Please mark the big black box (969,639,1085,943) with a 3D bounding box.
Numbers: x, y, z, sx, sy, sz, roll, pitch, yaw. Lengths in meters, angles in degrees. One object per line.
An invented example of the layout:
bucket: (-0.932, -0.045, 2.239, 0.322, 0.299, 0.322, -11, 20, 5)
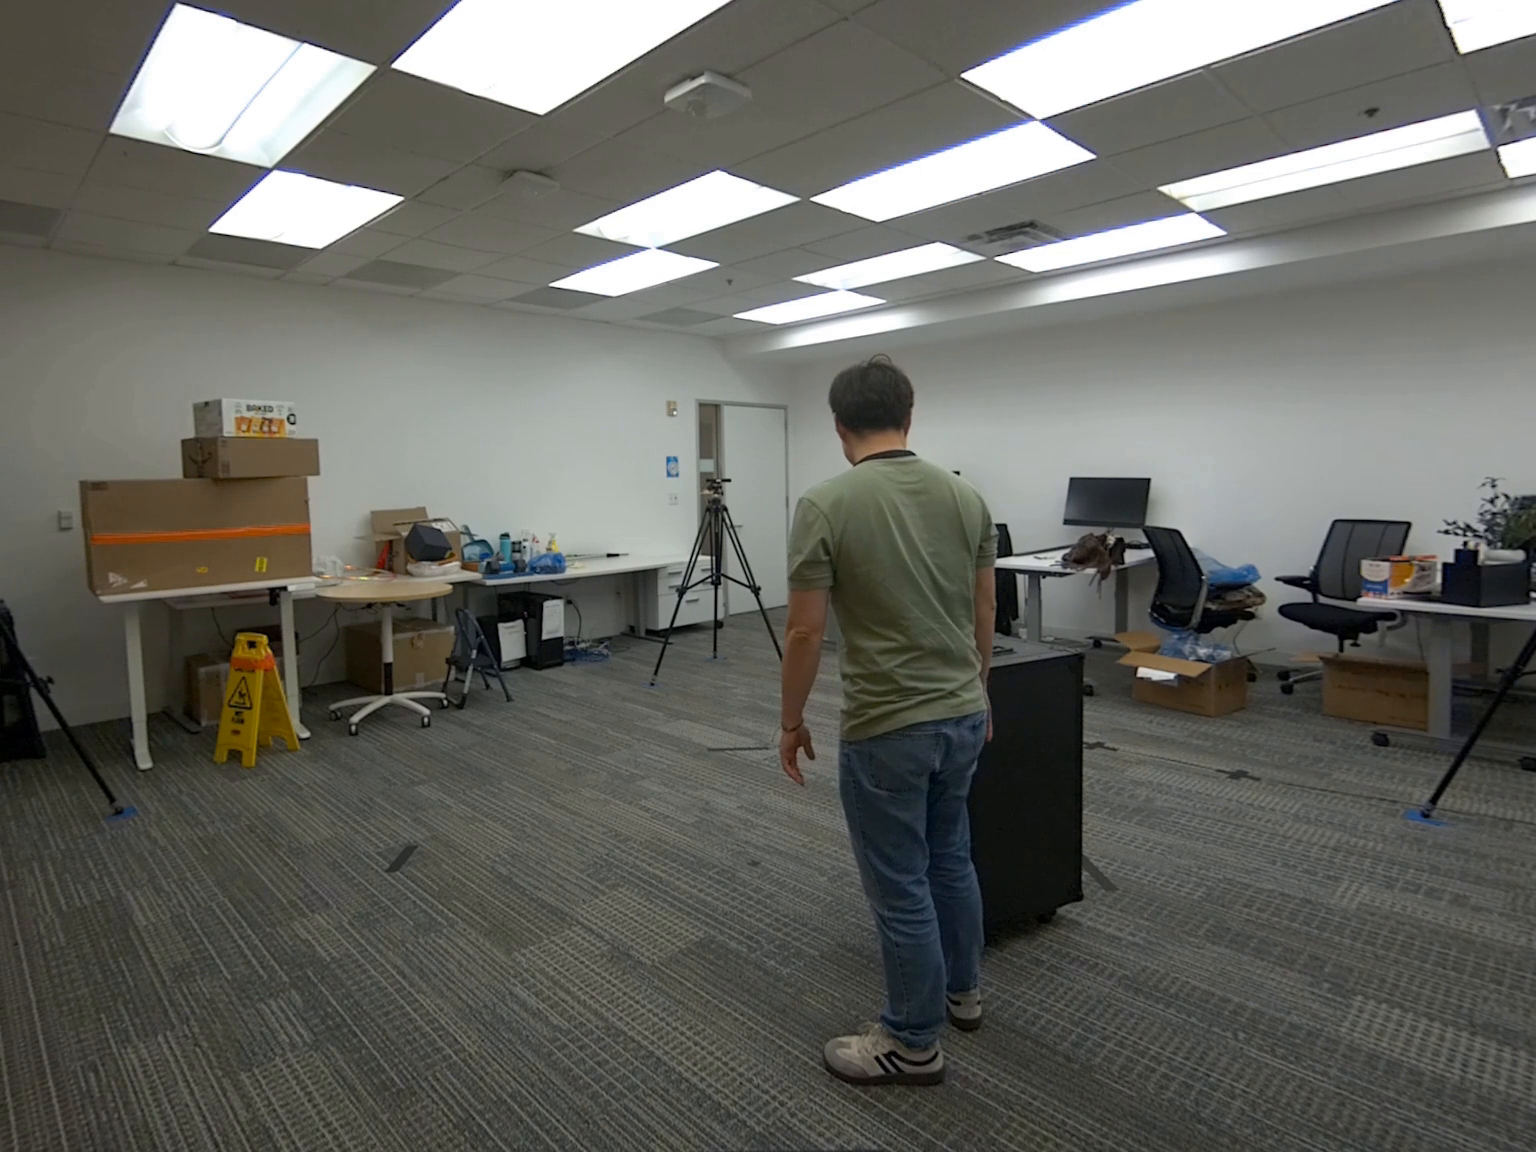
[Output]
big black box: (0.677, 0.651, 2.680, 0.509, 0.859, 0.407, -3, 3, -30)
